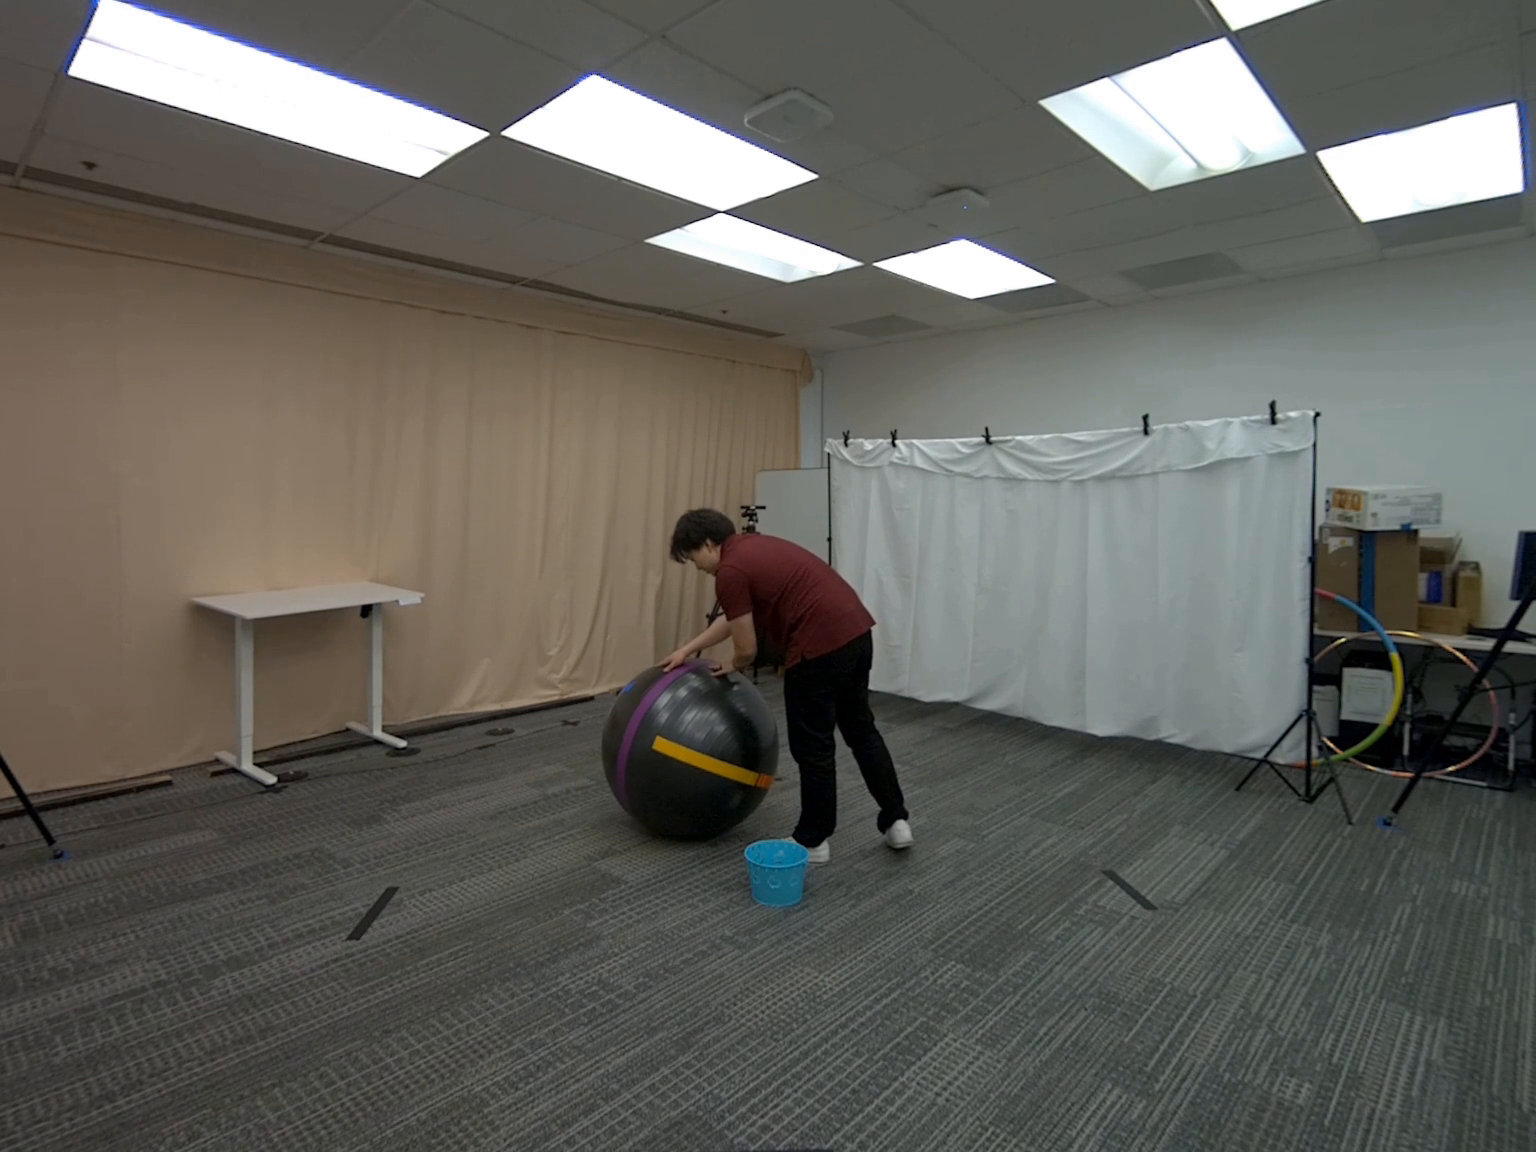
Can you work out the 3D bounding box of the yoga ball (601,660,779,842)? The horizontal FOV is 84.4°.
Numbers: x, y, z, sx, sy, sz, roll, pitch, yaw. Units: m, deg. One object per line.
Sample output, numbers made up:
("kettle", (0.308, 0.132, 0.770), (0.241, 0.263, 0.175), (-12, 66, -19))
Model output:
("yoga ball", (-0.333, 0.735, 3.620), (0.757, 0.756, 0.760), (0, 4, -2))
